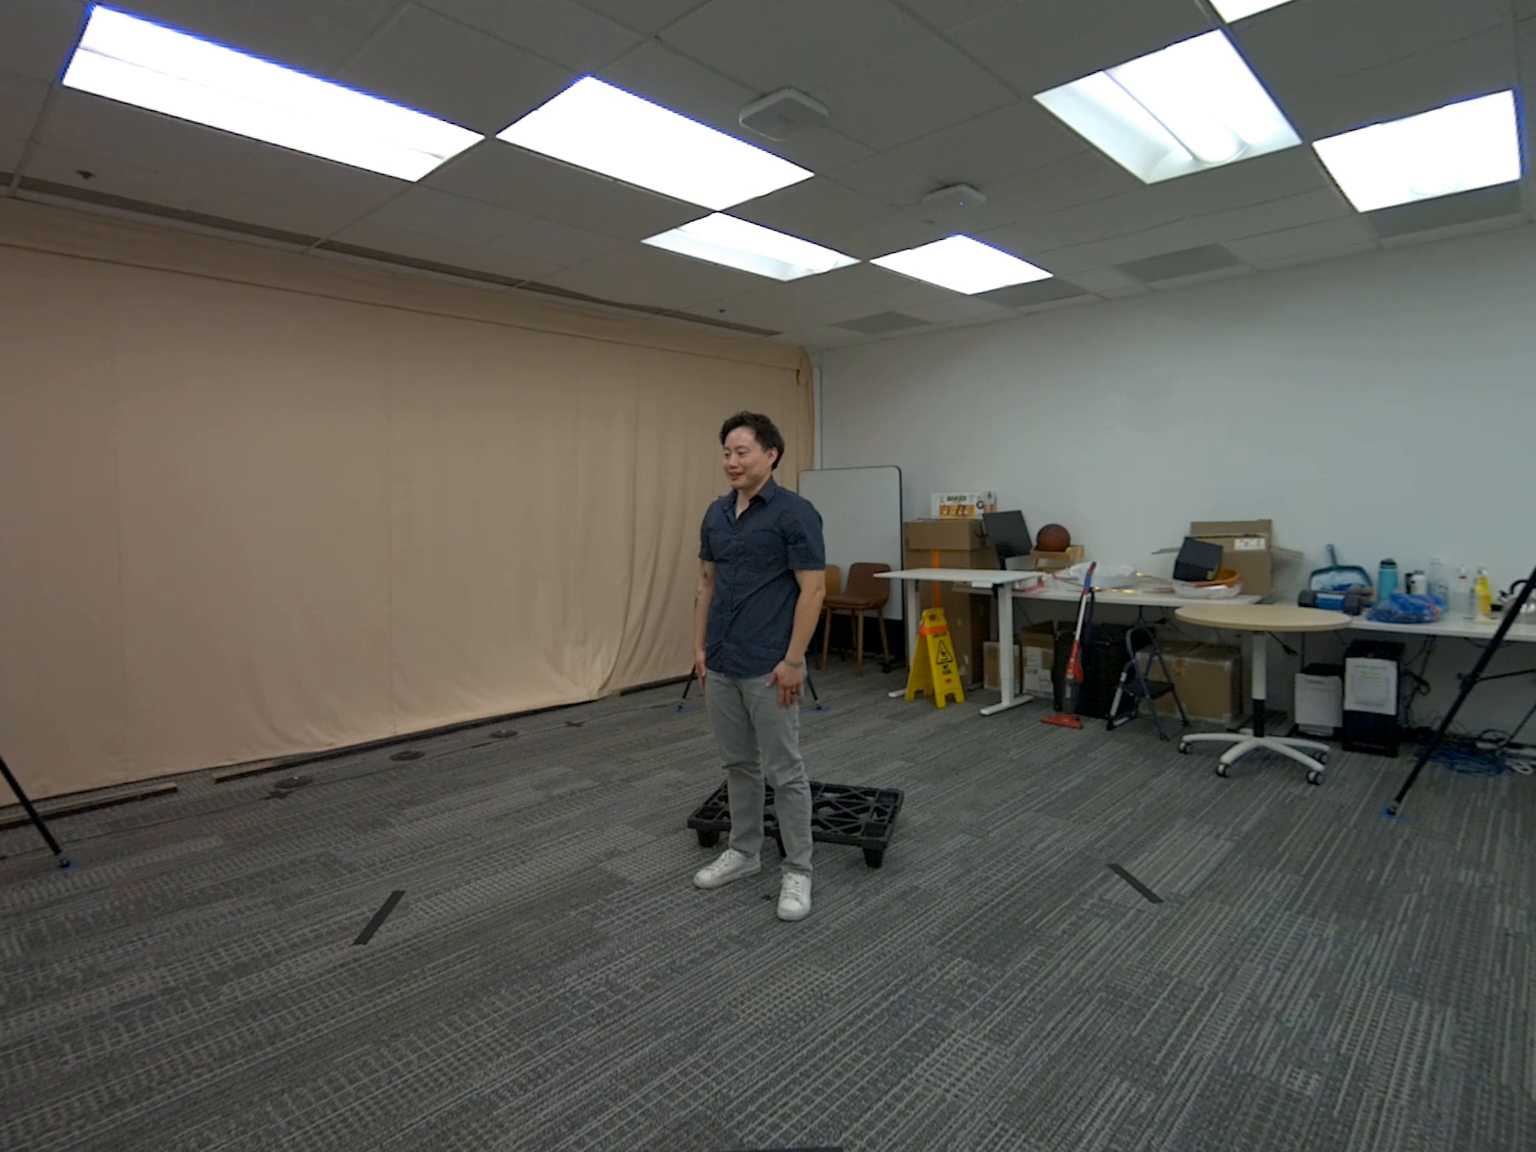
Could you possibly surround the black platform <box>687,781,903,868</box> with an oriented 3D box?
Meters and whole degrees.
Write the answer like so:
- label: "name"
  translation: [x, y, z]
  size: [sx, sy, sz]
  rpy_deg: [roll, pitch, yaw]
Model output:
- label: "black platform"
  translation: [0.142, 1.021, 3.528]
  size: [0.821, 0.143, 0.595]
  rpy_deg: [0, 5, 18]
